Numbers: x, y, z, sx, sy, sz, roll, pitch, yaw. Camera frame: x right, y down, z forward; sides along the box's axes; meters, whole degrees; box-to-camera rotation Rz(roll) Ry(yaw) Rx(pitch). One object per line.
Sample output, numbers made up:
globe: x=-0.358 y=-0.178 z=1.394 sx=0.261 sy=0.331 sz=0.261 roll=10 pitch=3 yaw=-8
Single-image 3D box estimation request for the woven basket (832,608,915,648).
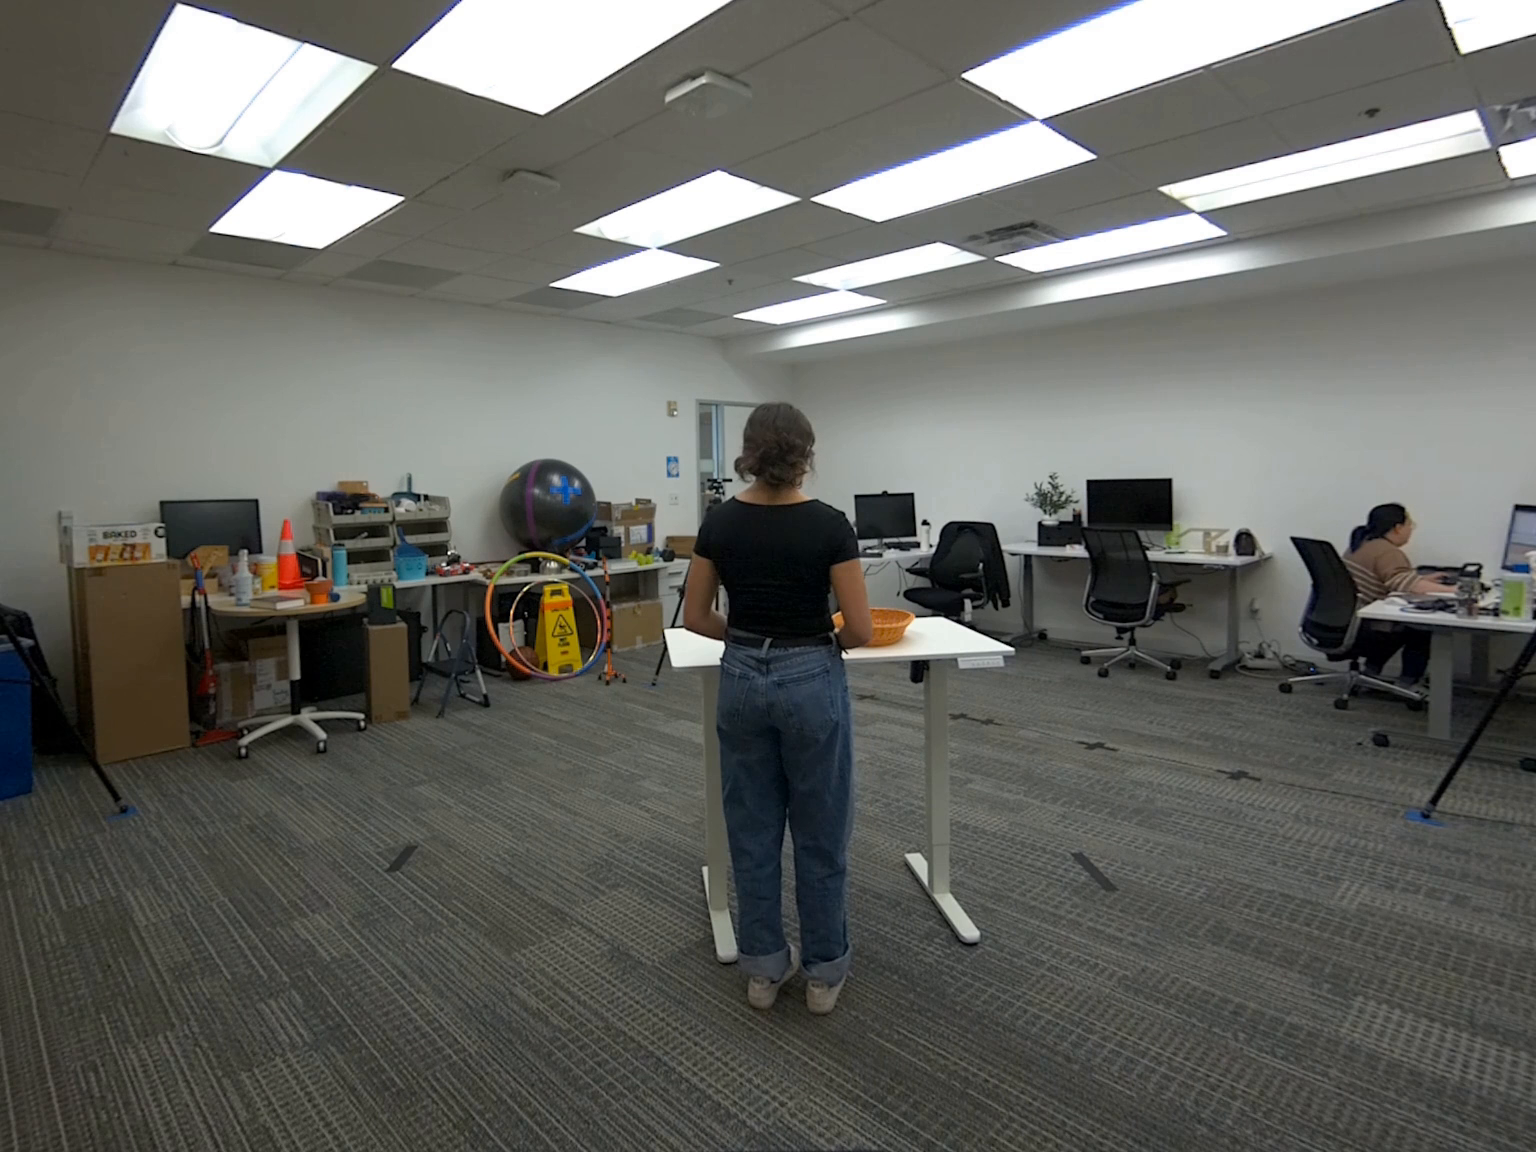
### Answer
woven basket: x=0.351 y=0.171 z=2.706 sx=0.257 sy=0.073 sz=0.346 roll=2 pitch=7 yaw=17
